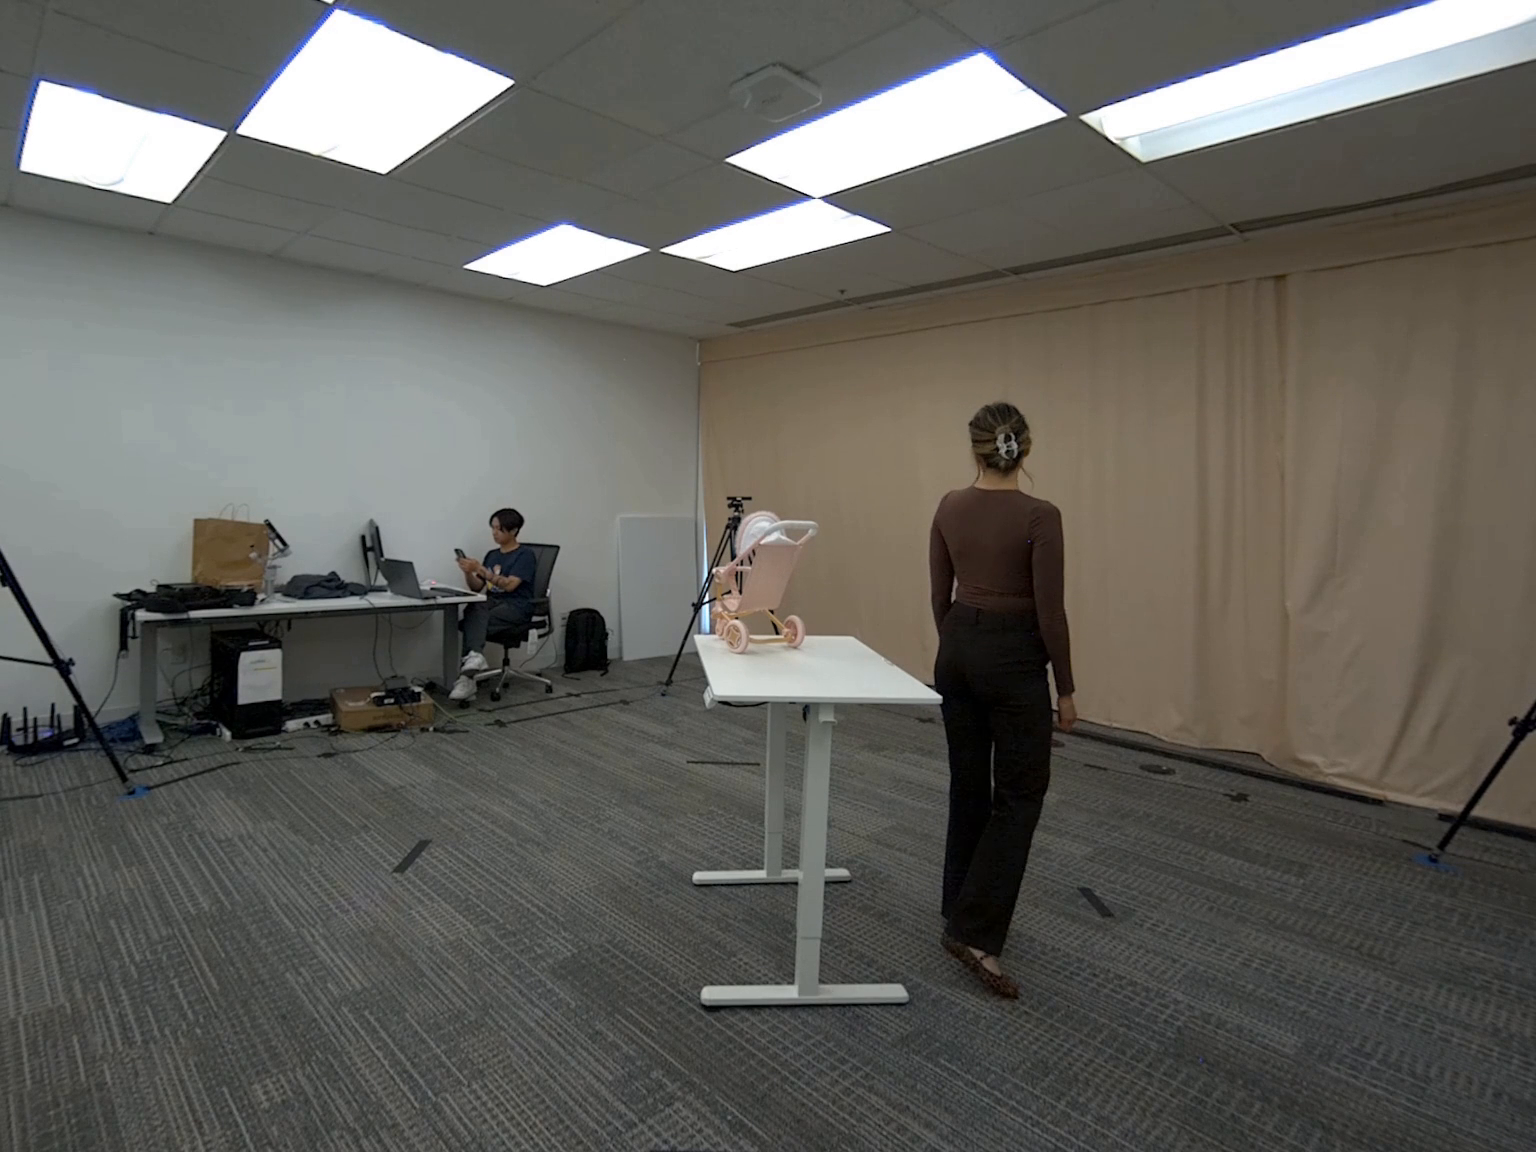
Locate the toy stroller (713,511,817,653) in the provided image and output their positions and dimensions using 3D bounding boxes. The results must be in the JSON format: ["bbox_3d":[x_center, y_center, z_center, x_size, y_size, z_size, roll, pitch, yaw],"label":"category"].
[{"bbox_3d":[-0.042,0.021,2.878,0.275,0.530,0.352,0,19,-35],"label":"toy stroller"}]
